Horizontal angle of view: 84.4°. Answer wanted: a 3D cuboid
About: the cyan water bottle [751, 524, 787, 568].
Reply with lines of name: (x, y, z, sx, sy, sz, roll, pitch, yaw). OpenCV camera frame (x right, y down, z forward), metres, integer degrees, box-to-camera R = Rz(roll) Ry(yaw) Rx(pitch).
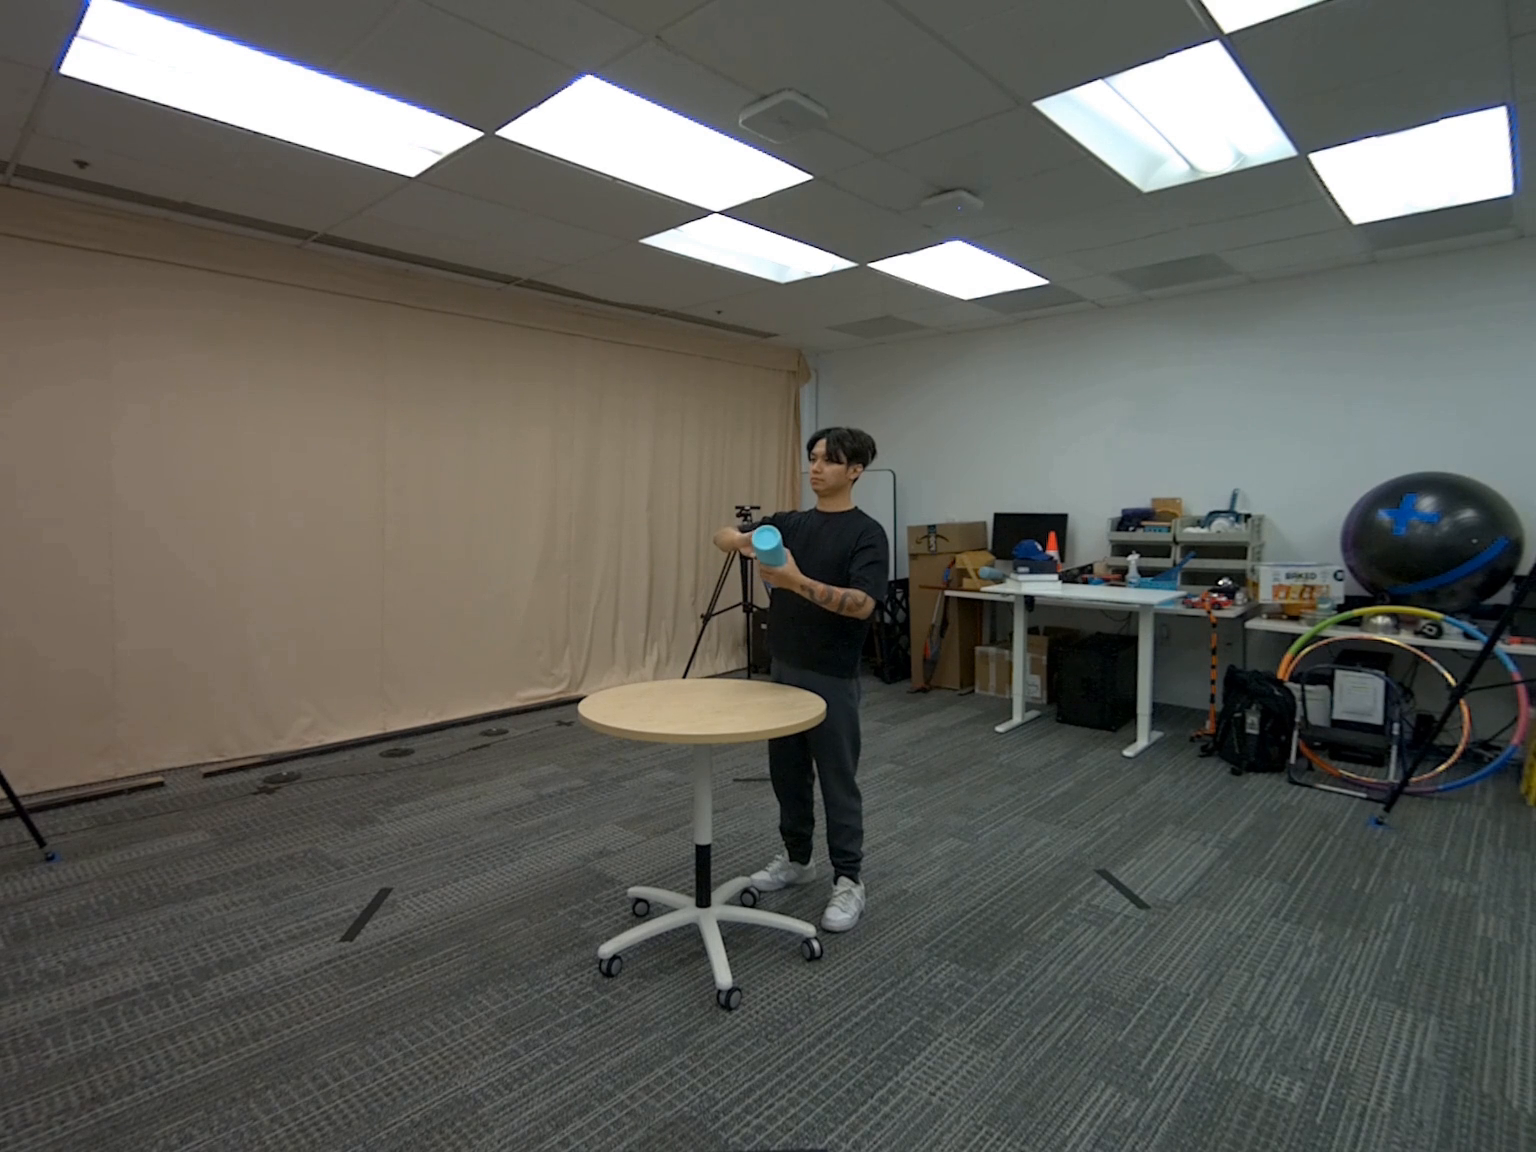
cyan water bottle: (0.024, -0.056, 2.634, 0.093, 0.093, 0.276, 1, -28, 9)
